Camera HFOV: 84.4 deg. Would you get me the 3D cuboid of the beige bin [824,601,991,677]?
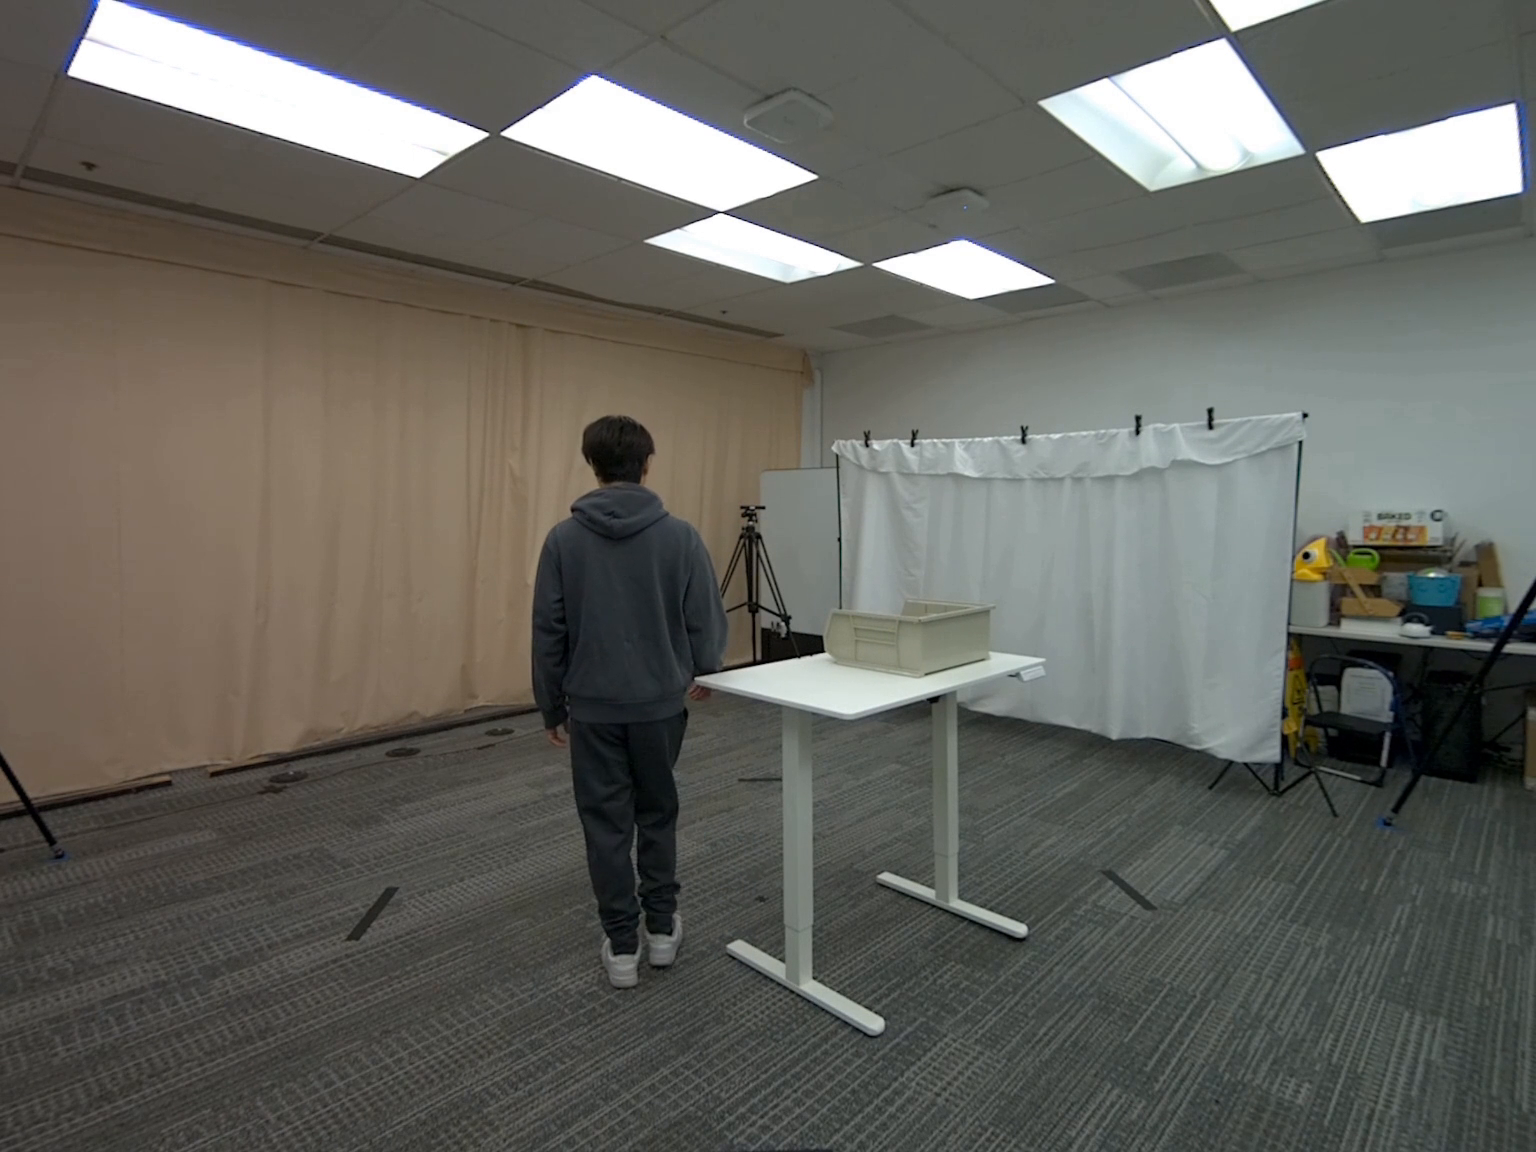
[{"bbox_3d":[0.459,0.191,2.735,0.409,0.188,0.390,-5,7,-44],"label":"beige bin"}]
